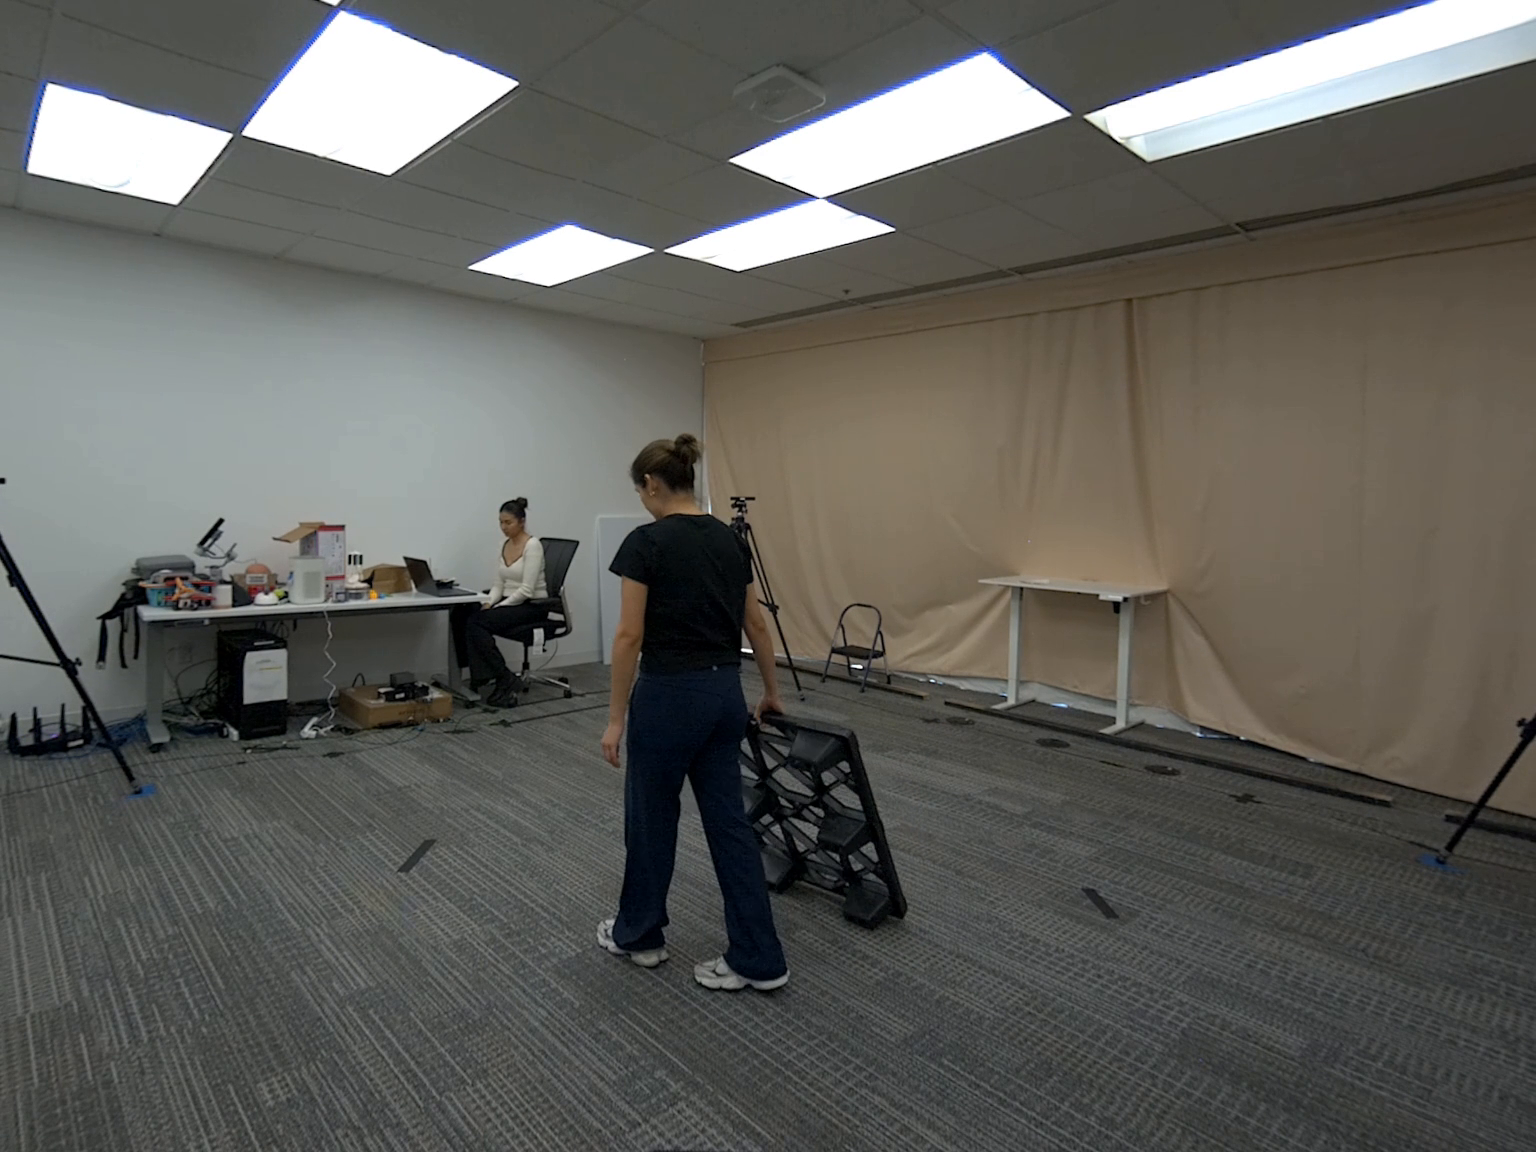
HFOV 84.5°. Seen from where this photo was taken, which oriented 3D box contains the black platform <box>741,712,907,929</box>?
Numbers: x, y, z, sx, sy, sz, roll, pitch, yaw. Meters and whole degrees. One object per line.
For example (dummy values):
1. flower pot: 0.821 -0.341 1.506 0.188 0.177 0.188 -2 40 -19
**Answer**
1. black platform: 0.081 0.786 2.755 0.620 0.788 0.143 5 34 39
